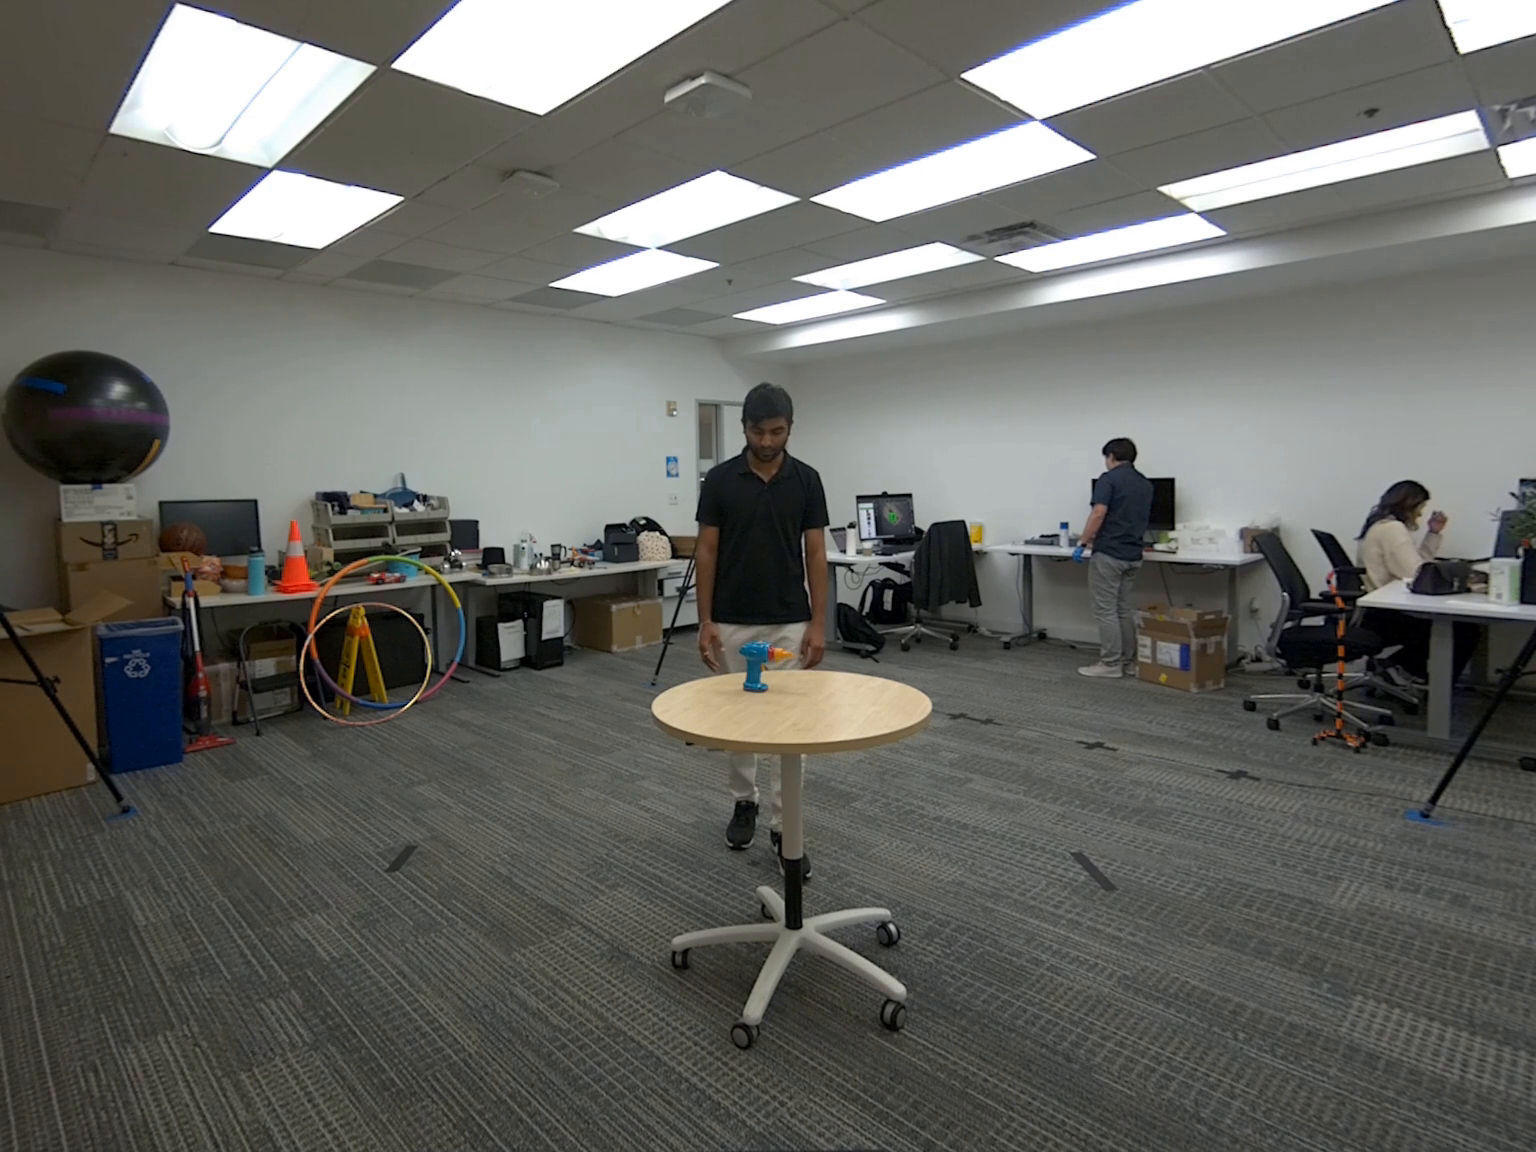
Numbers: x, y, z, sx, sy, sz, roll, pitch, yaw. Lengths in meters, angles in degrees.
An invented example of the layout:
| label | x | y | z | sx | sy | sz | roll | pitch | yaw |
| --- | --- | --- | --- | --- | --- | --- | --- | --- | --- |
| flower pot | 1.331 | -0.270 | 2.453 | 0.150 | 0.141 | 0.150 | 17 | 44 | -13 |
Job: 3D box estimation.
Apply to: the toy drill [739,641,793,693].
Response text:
| label | x | y | z | sx | sy | sz | roll | pitch | yaw |
| --- | --- | --- | --- | --- | --- | --- | --- | --- | --- |
| toy drill | -0.006 | 0.264 | 2.470 | 0.173 | 0.145 | 0.060 | 0 | 4 | 23 |
